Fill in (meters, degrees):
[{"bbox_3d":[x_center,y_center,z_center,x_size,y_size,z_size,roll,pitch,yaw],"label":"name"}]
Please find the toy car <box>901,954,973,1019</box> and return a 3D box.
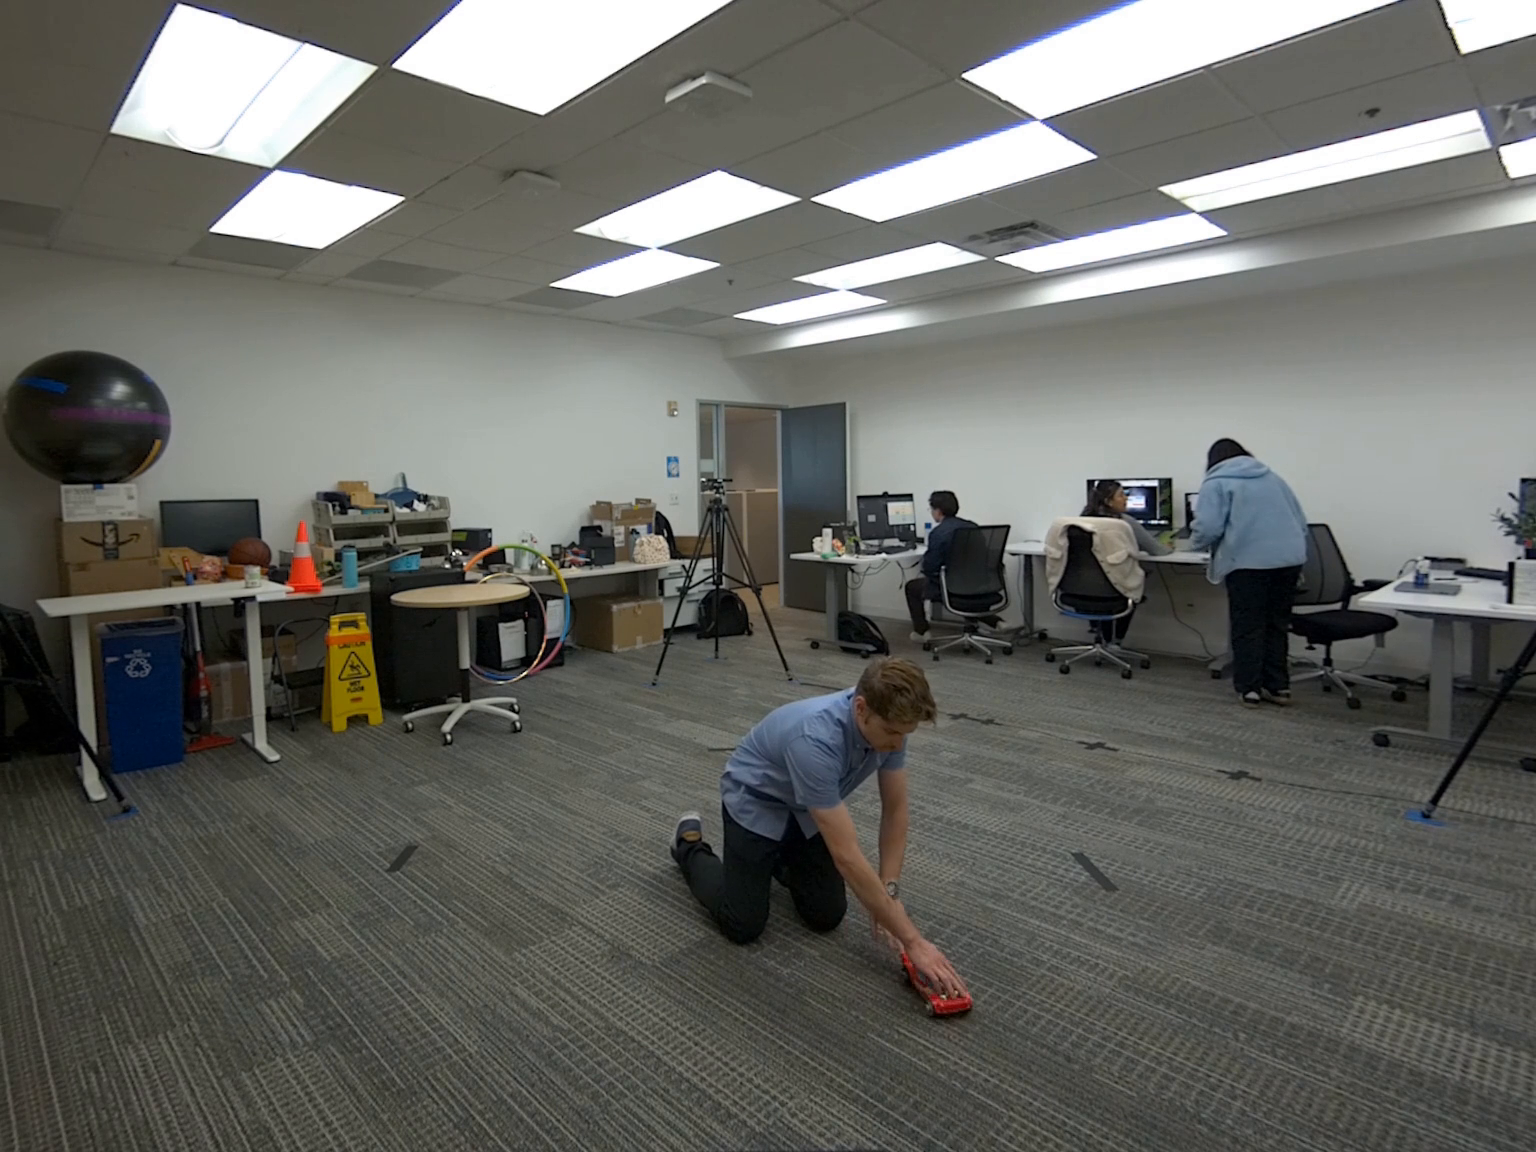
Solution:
[{"bbox_3d":[0.446,1.096,2.313,0.129,0.082,0.261,-4,18,-13],"label":"toy car"}]
